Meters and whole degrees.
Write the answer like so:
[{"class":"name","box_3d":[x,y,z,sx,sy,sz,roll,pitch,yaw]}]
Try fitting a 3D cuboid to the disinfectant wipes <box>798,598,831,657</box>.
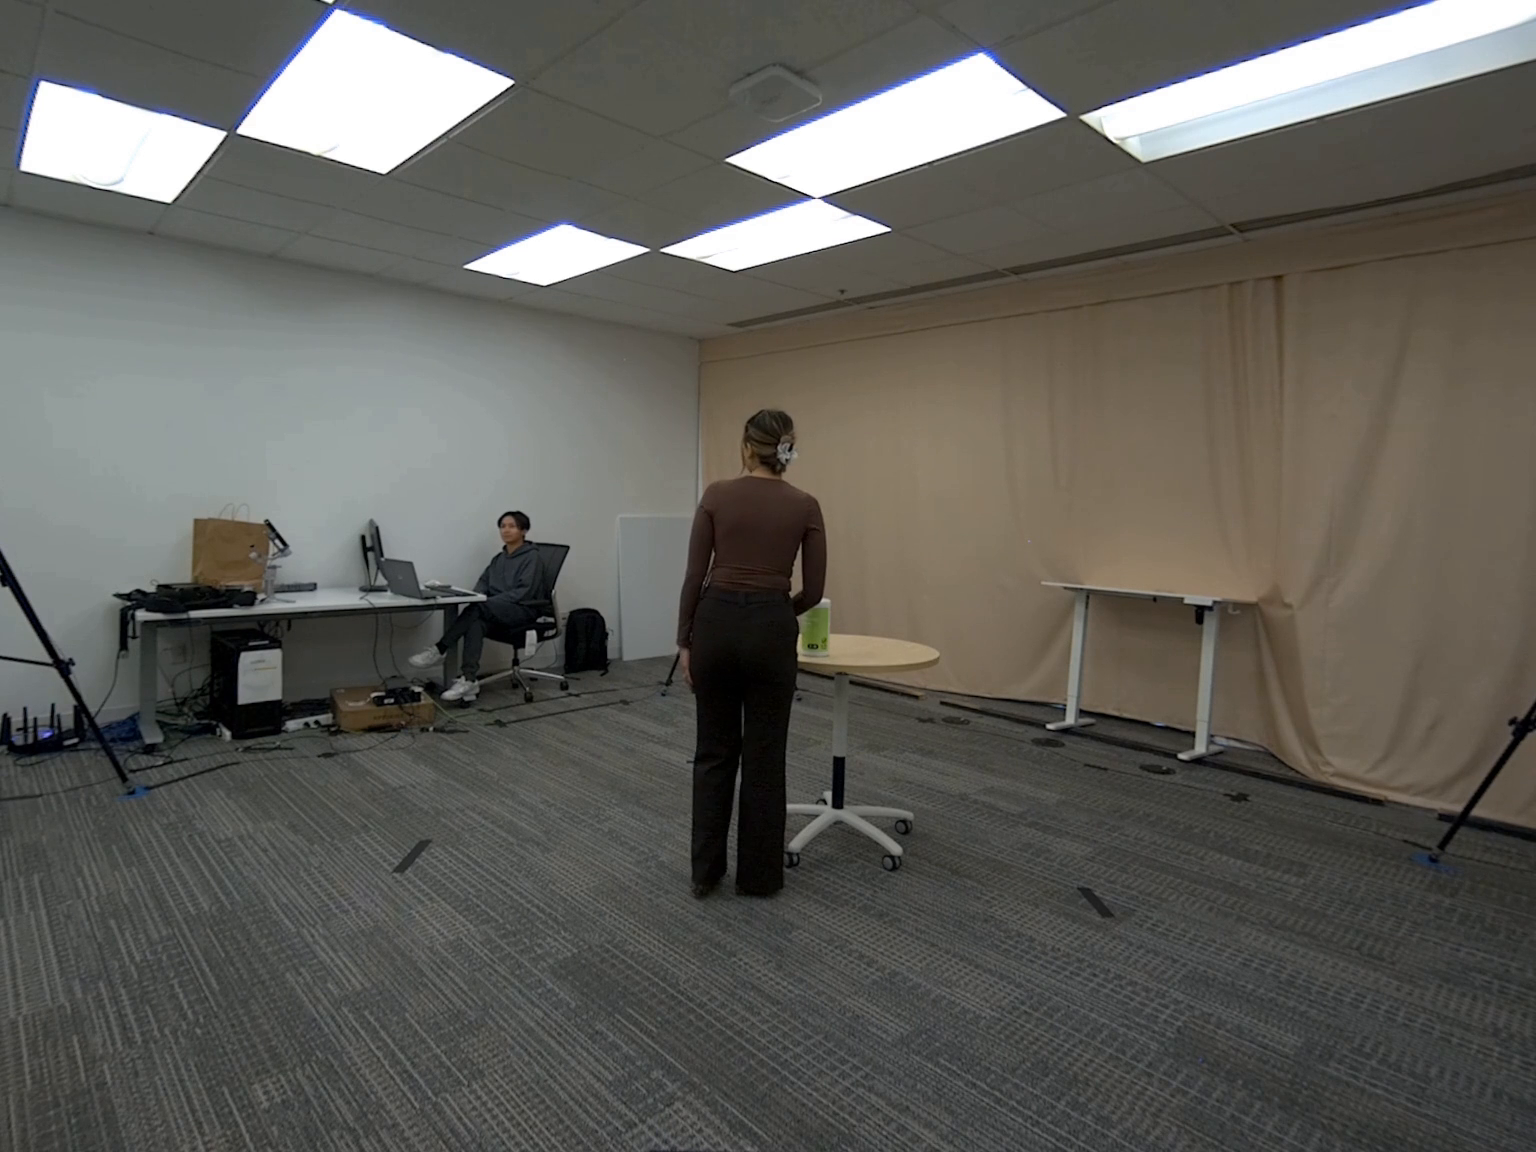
[{"class":"disinfectant wipes","box_3d":[0.179,0.199,3.235,0.118,0.217,0.118,0,3,-1]}]
